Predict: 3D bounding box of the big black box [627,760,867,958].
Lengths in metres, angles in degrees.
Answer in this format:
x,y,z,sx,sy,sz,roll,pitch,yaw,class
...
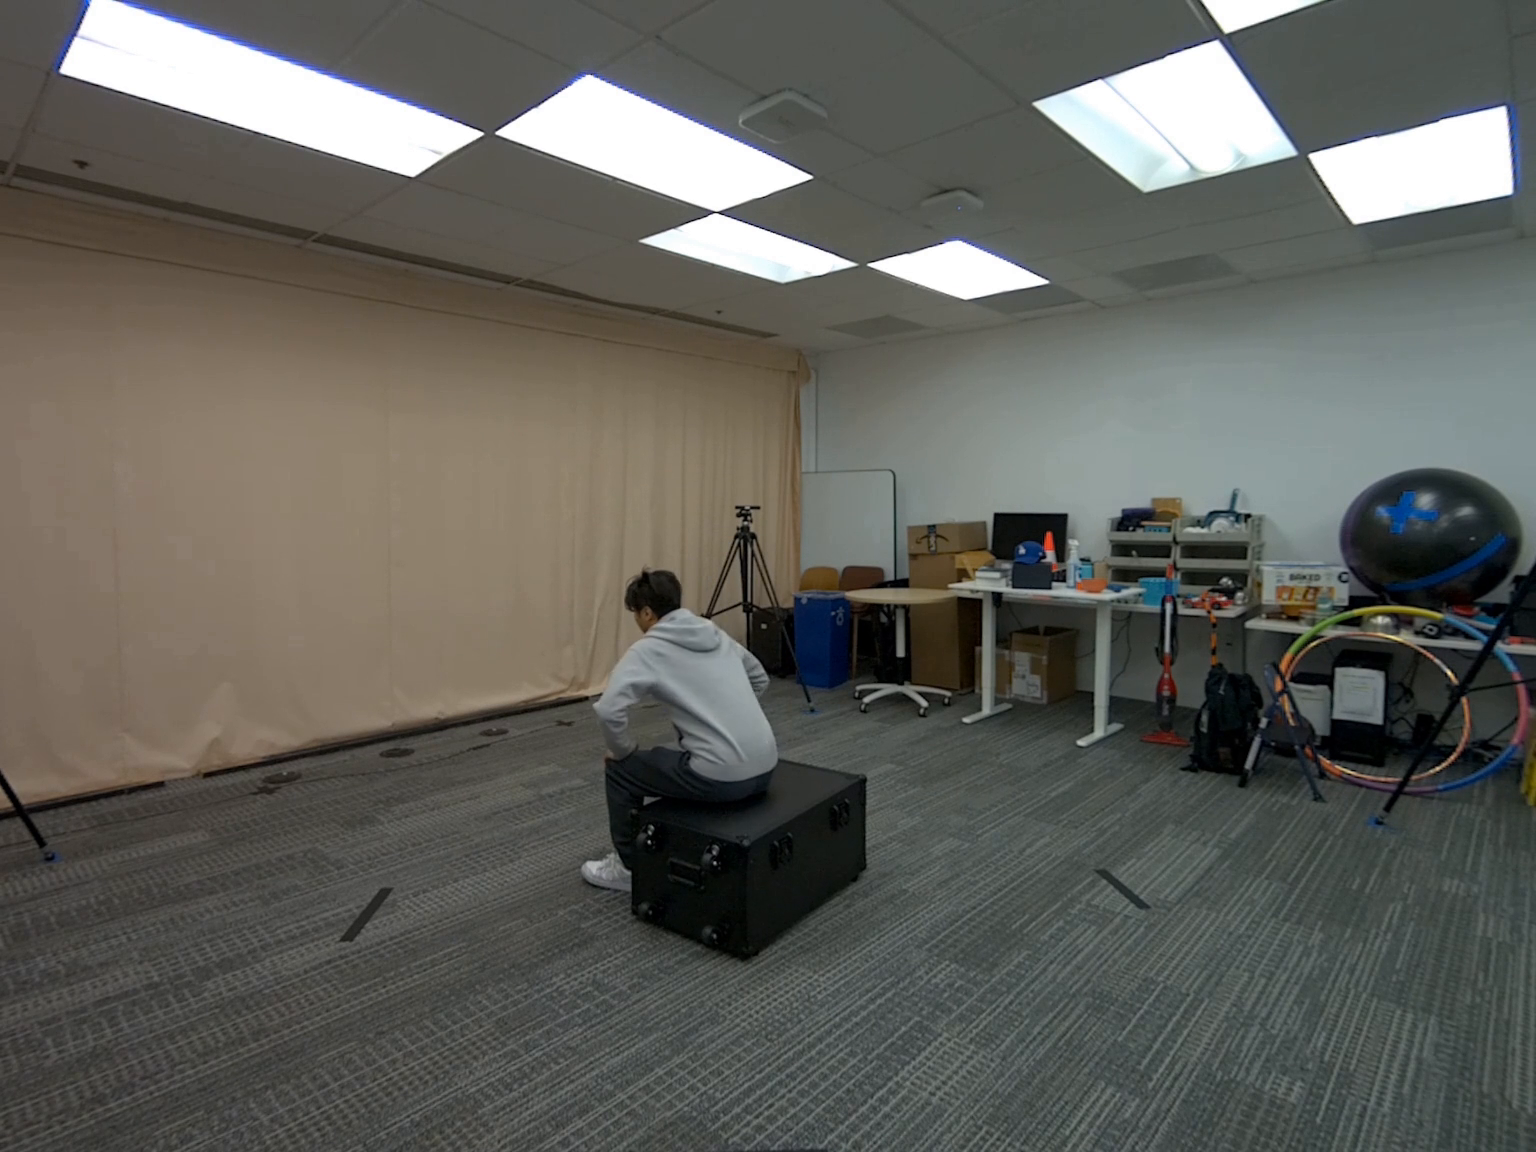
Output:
x,y,z,sx,sy,sz,roll,pitch,yaw,class
-0.018,0.957,3.009,0.538,0.395,0.836,3,6,36,big black box
